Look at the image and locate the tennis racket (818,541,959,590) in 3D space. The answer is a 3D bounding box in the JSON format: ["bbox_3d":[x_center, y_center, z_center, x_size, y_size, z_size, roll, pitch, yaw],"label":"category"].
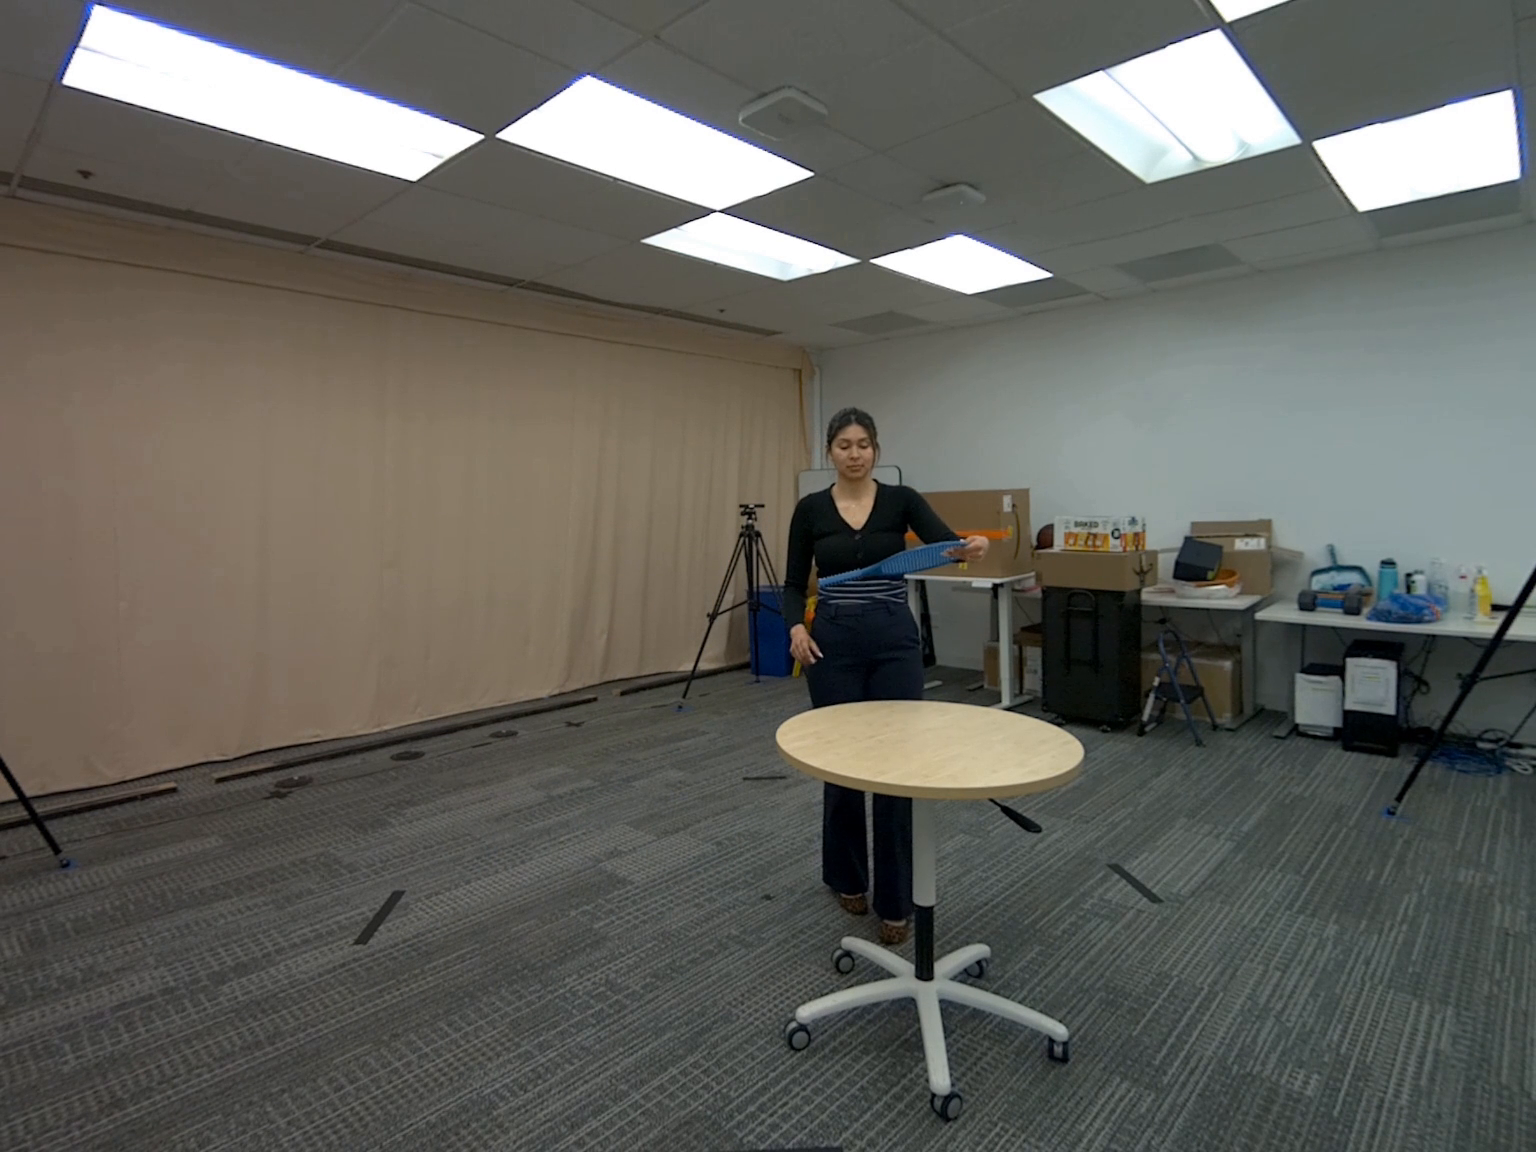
[{"bbox_3d":[0.365,-0.023,2.389,0.437,0.032,0.208,-13,-17,11],"label":"tennis racket"}]
